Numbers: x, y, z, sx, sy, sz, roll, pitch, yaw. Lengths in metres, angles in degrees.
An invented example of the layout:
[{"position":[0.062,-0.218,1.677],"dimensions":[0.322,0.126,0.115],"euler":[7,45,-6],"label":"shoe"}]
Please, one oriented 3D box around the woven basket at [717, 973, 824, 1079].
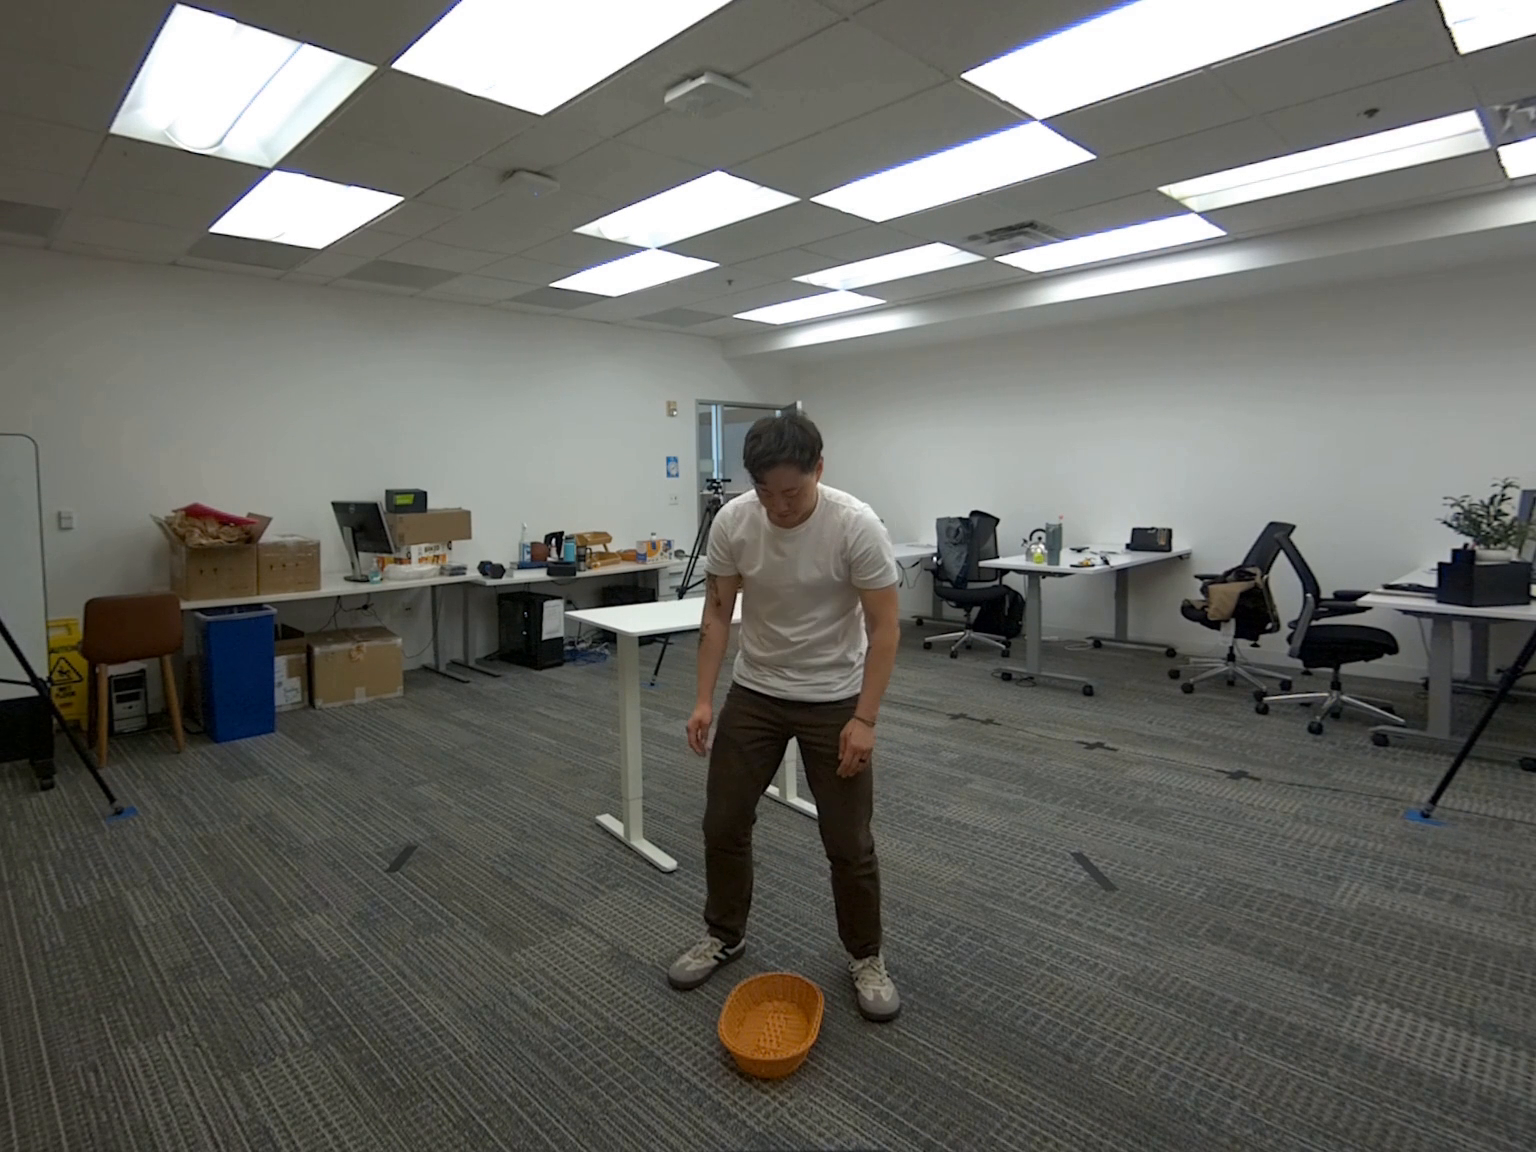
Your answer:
[{"position":[0.017,1.121,2.130],"dimensions":[0.256,0.073,0.347],"euler":[0,7,13],"label":"woven basket"}]
